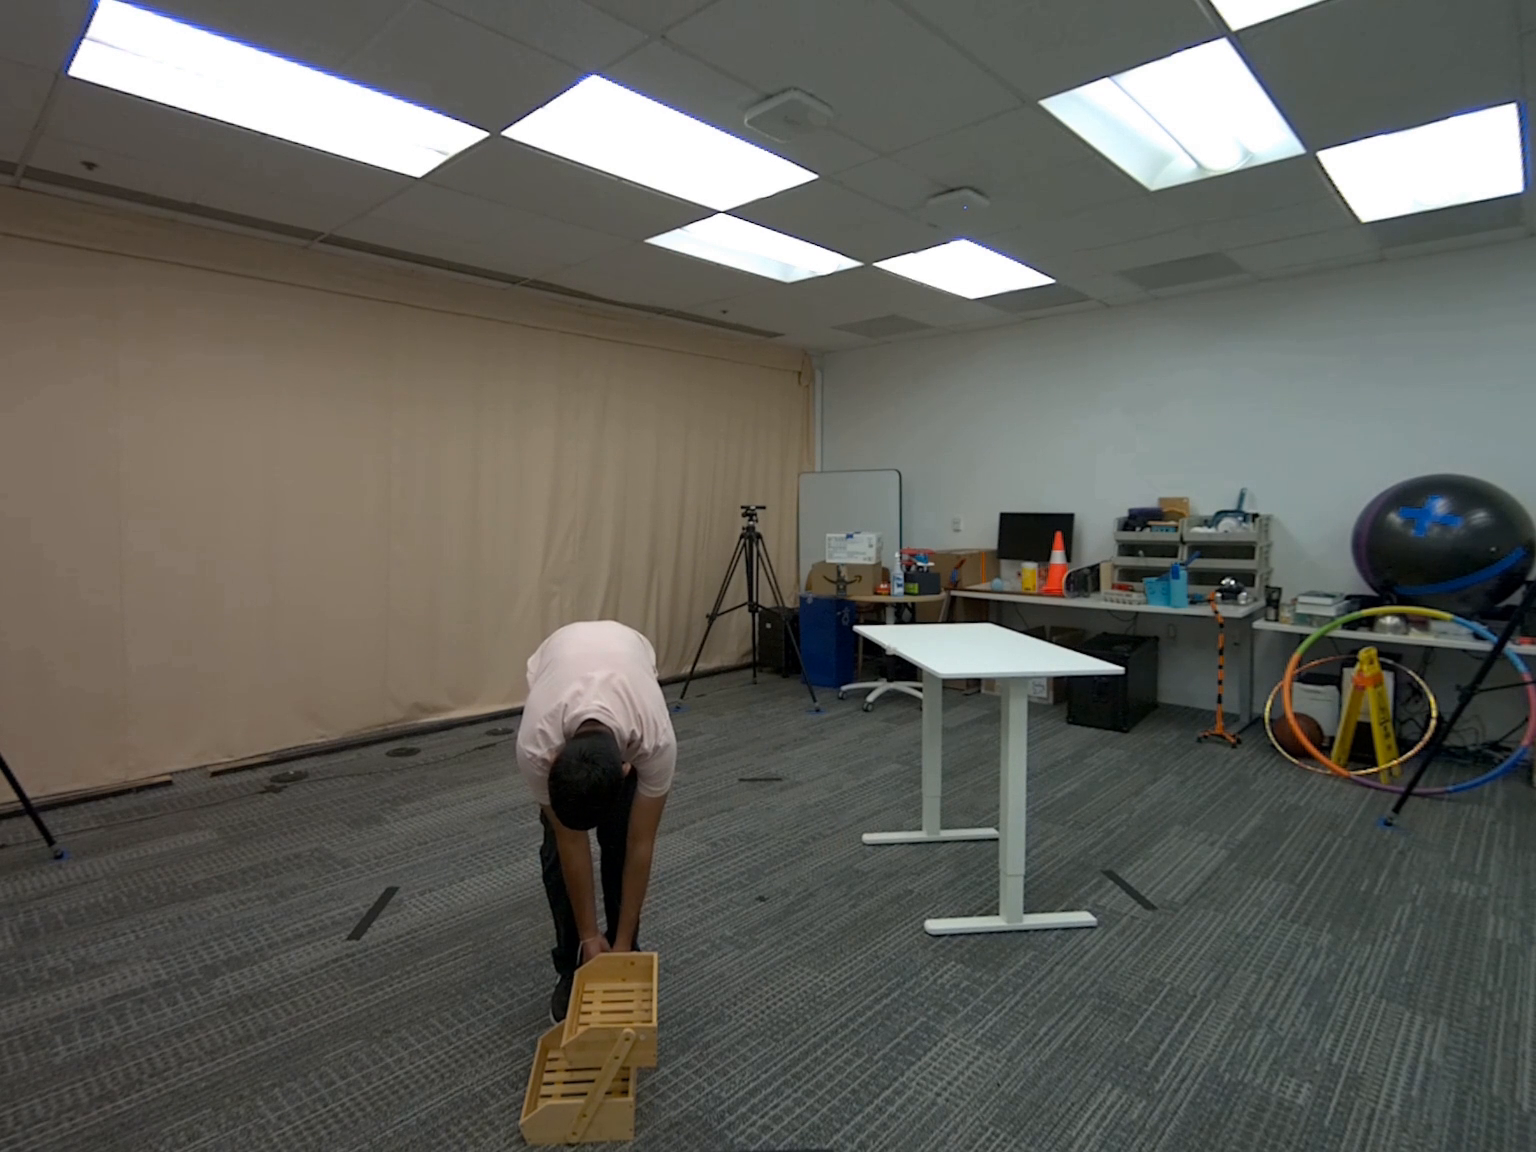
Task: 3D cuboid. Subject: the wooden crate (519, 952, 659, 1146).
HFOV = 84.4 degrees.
[{"bbox_3d":[-0.412,1.095,1.980,0.300,0.273,0.327,0,4,-6],"label":"wooden crate"}]
